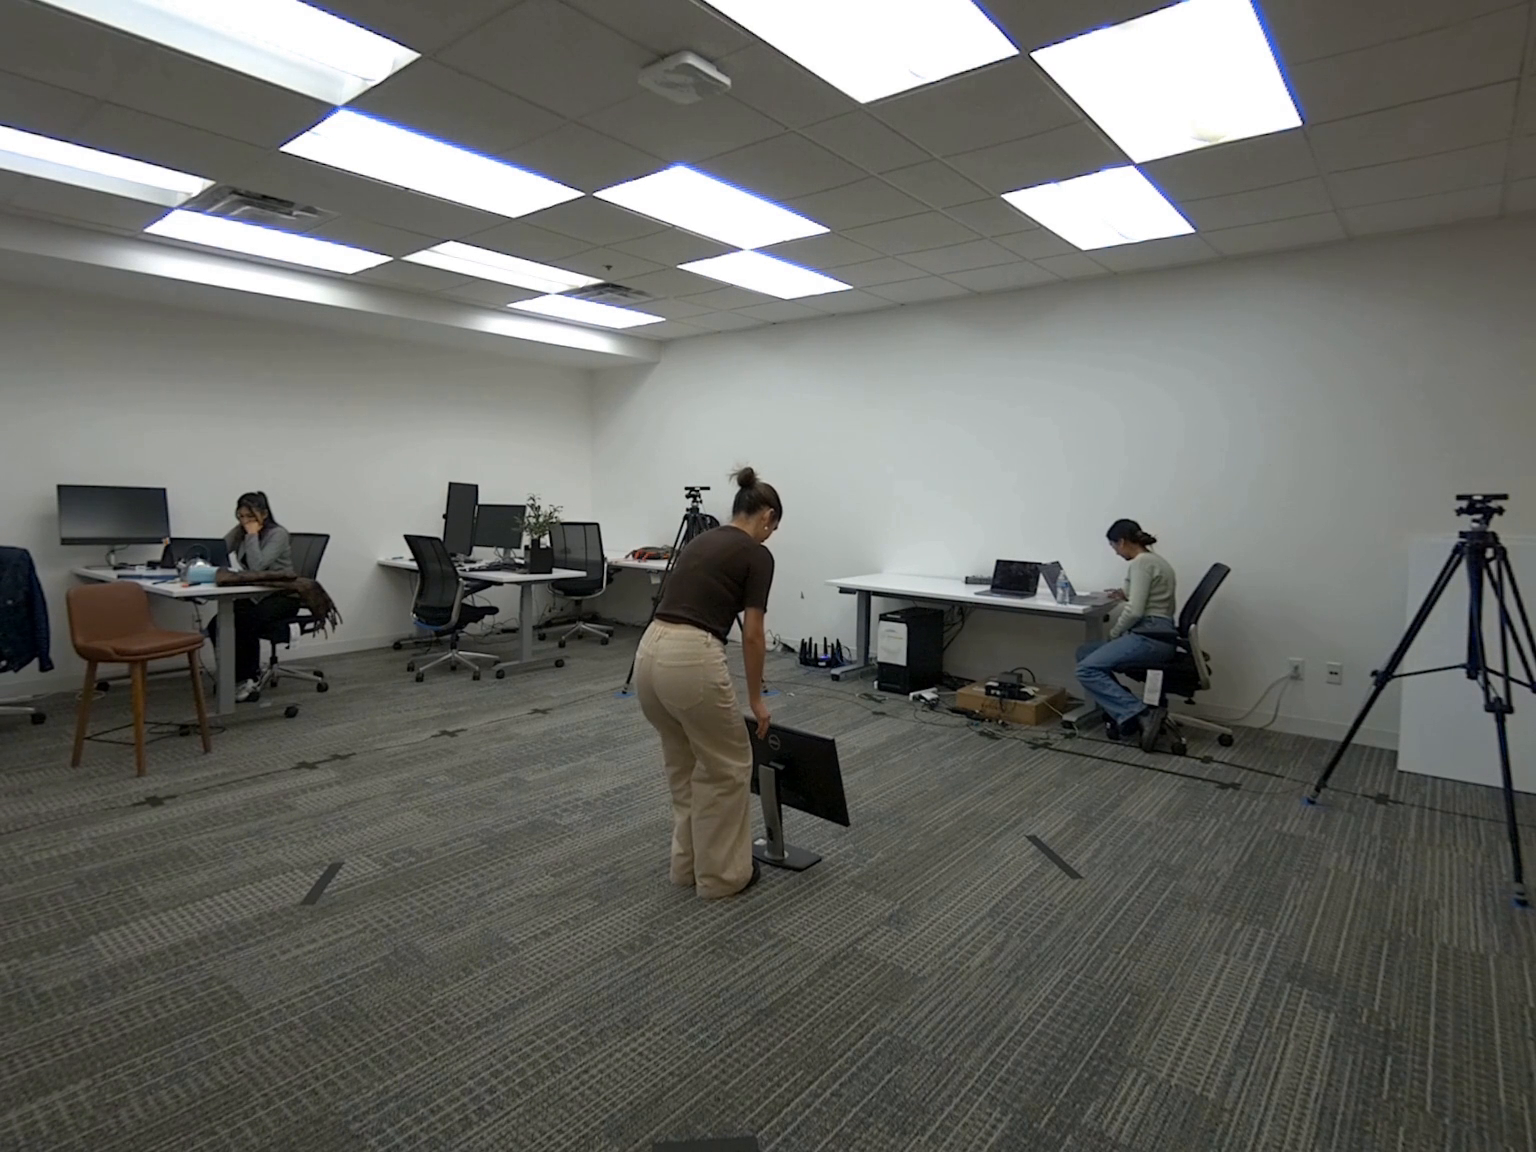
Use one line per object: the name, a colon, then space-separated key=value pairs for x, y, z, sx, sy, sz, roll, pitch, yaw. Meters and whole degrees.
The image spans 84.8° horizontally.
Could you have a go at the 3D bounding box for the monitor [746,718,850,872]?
monitor: x=0.036 y=0.809 z=3.195 sx=0.557 sy=0.520 sz=0.182 roll=4 pitch=6 yaw=42
